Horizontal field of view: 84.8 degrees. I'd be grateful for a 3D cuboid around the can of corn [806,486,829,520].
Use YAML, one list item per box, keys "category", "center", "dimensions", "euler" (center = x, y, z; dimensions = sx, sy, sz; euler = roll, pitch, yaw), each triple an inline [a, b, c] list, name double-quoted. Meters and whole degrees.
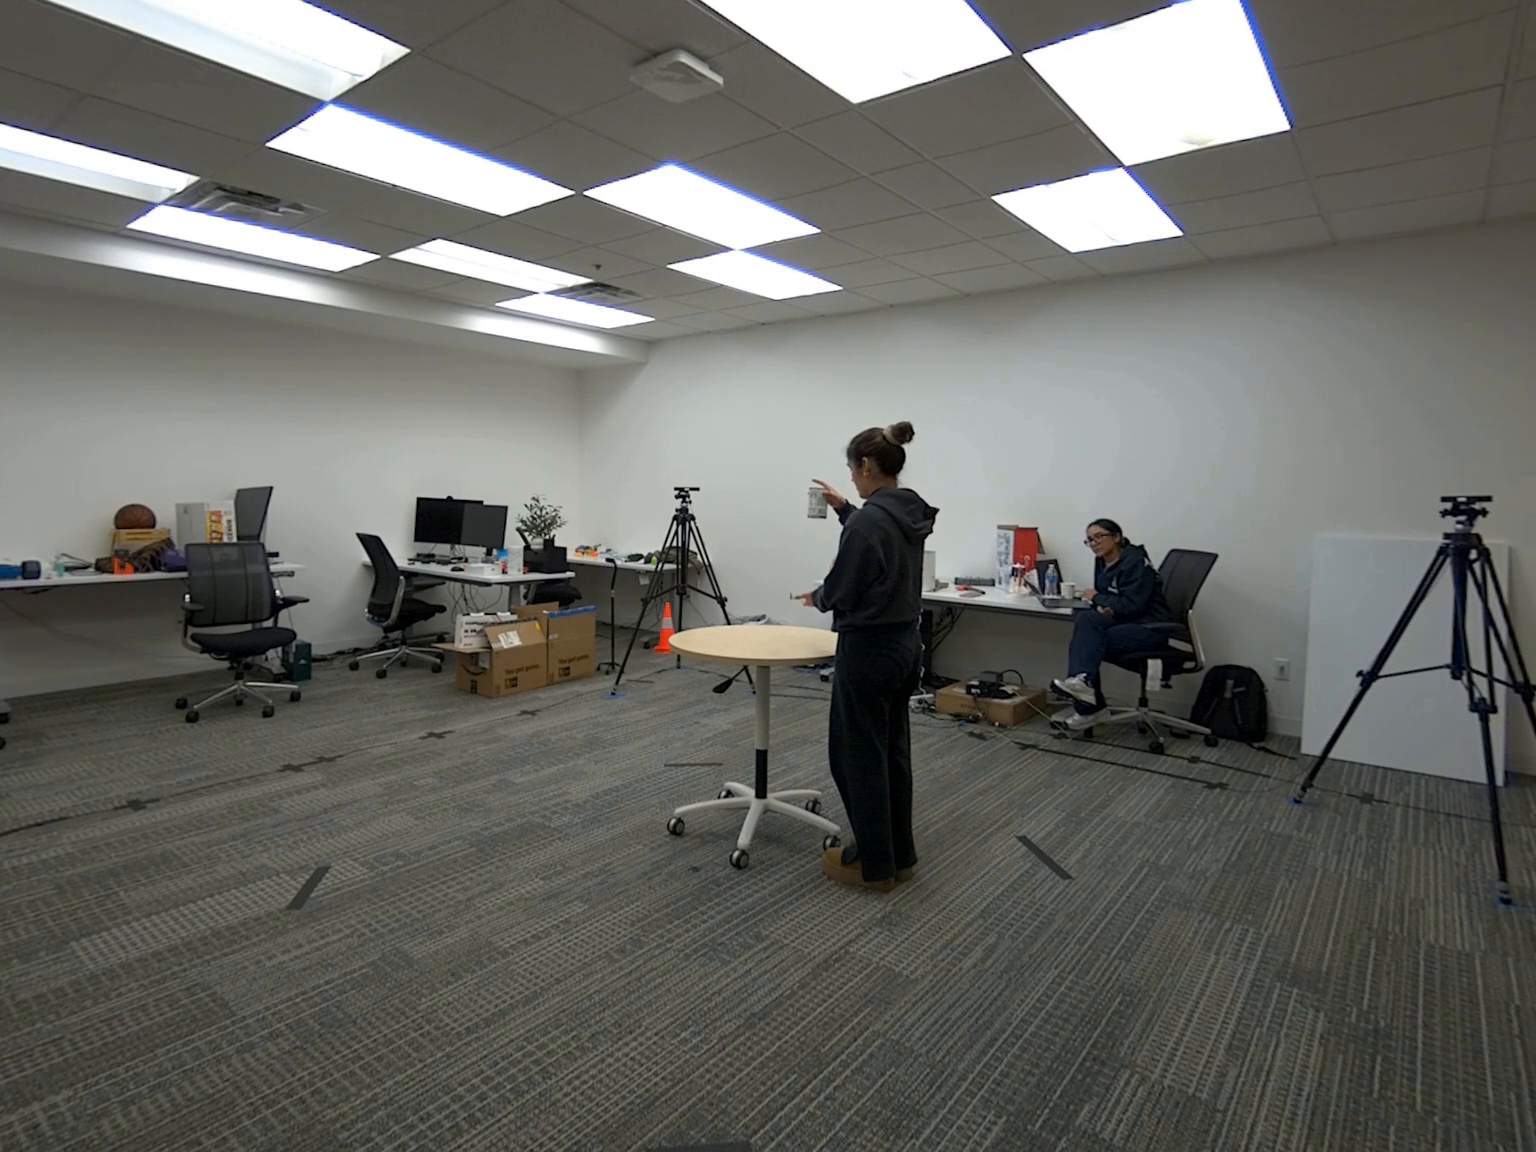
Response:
- category: "can of corn"
  center: [0.197, -0.281, 3.256]
  dimensions: [0.074, 0.111, 0.074]
  euler: [2, 3, -2]
